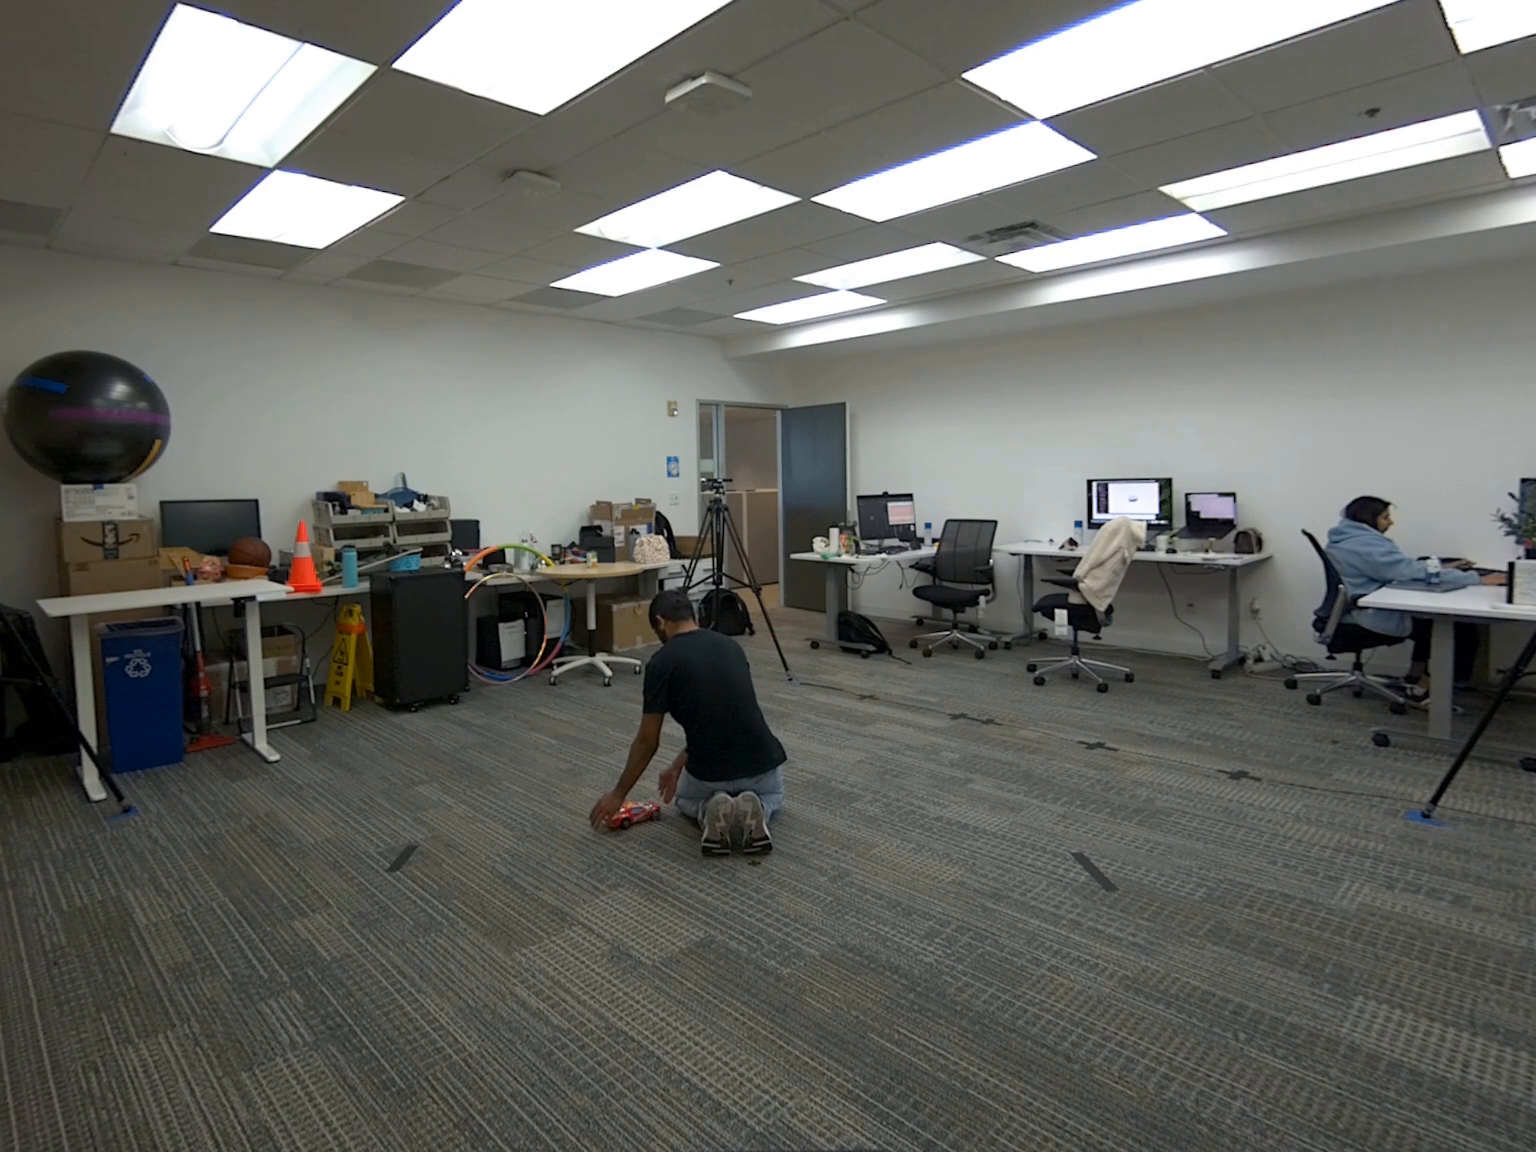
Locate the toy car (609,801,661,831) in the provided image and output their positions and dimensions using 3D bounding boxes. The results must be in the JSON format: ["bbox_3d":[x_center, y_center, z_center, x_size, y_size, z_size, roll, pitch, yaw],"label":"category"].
[{"bbox_3d":[-0.568,0.973,3.509,0.247,0.083,0.134,7,-1,-39],"label":"toy car"}]
